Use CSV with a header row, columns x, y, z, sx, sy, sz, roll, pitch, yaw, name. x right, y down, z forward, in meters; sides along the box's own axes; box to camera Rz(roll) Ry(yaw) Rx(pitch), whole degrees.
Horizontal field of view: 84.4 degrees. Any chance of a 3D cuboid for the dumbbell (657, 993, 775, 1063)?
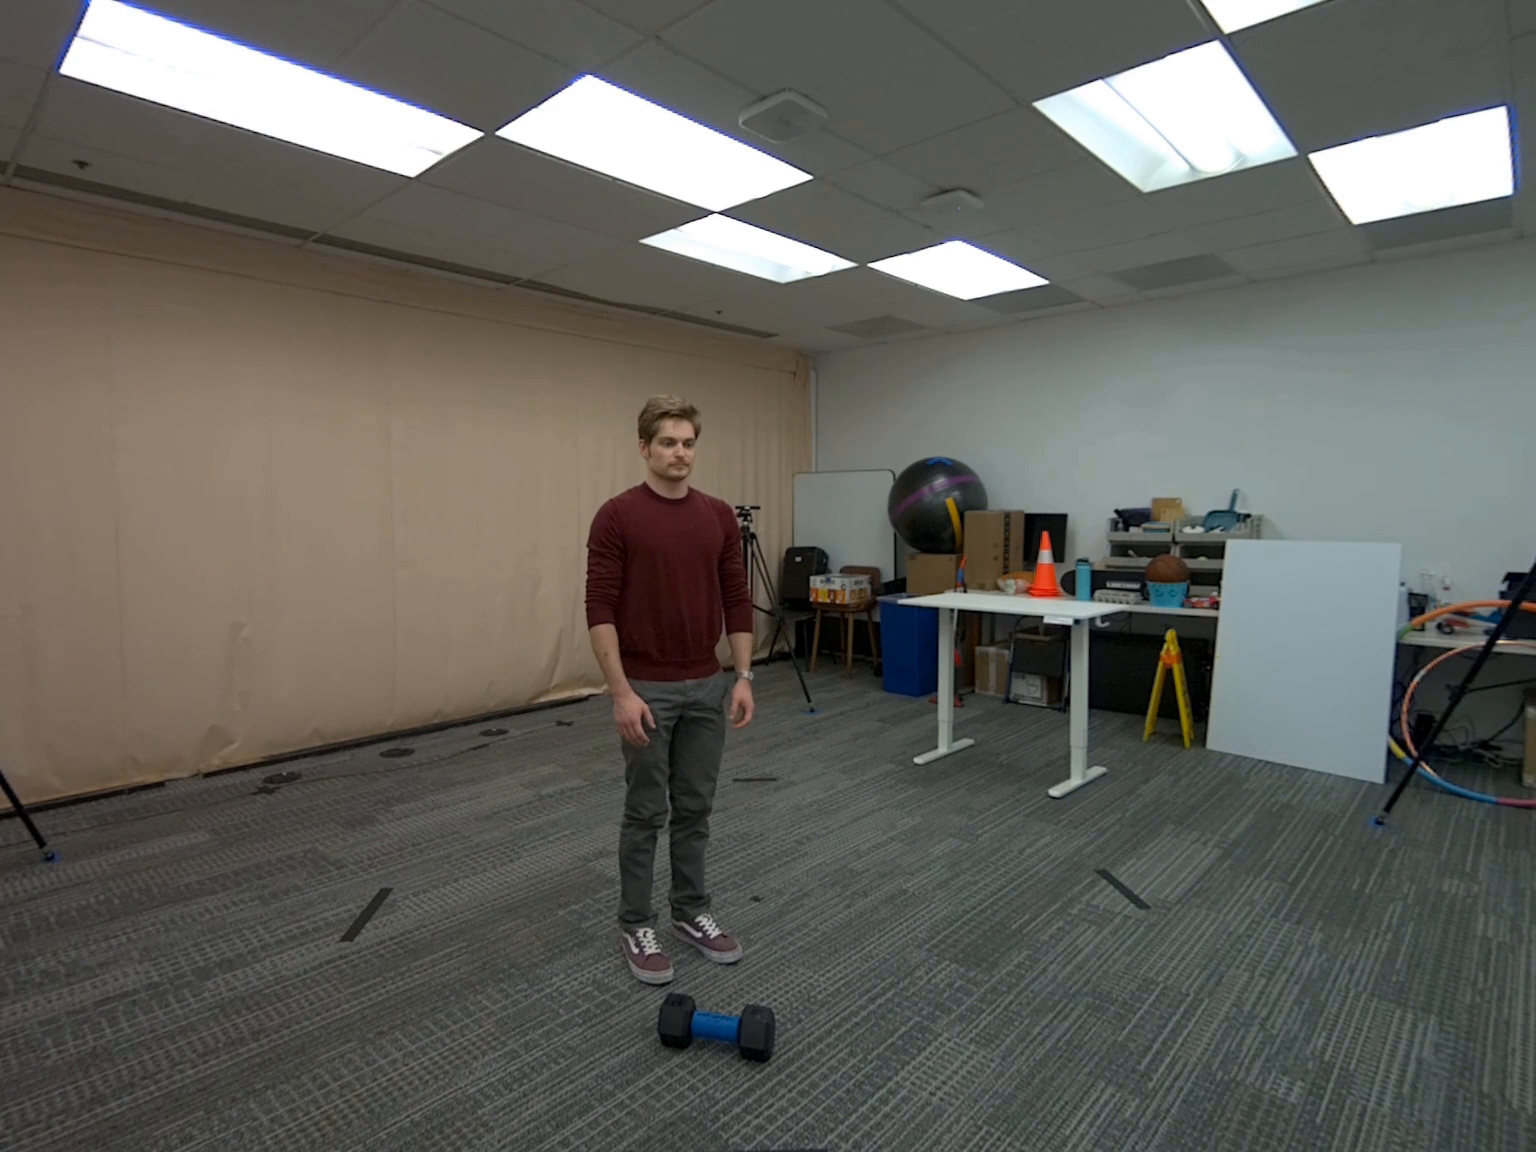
x,y,z,sx,sy,sz,roll,pitch,yaw,name
-0.129,1.161,2.162,0.298,0.120,0.109,1,34,14,dumbbell
